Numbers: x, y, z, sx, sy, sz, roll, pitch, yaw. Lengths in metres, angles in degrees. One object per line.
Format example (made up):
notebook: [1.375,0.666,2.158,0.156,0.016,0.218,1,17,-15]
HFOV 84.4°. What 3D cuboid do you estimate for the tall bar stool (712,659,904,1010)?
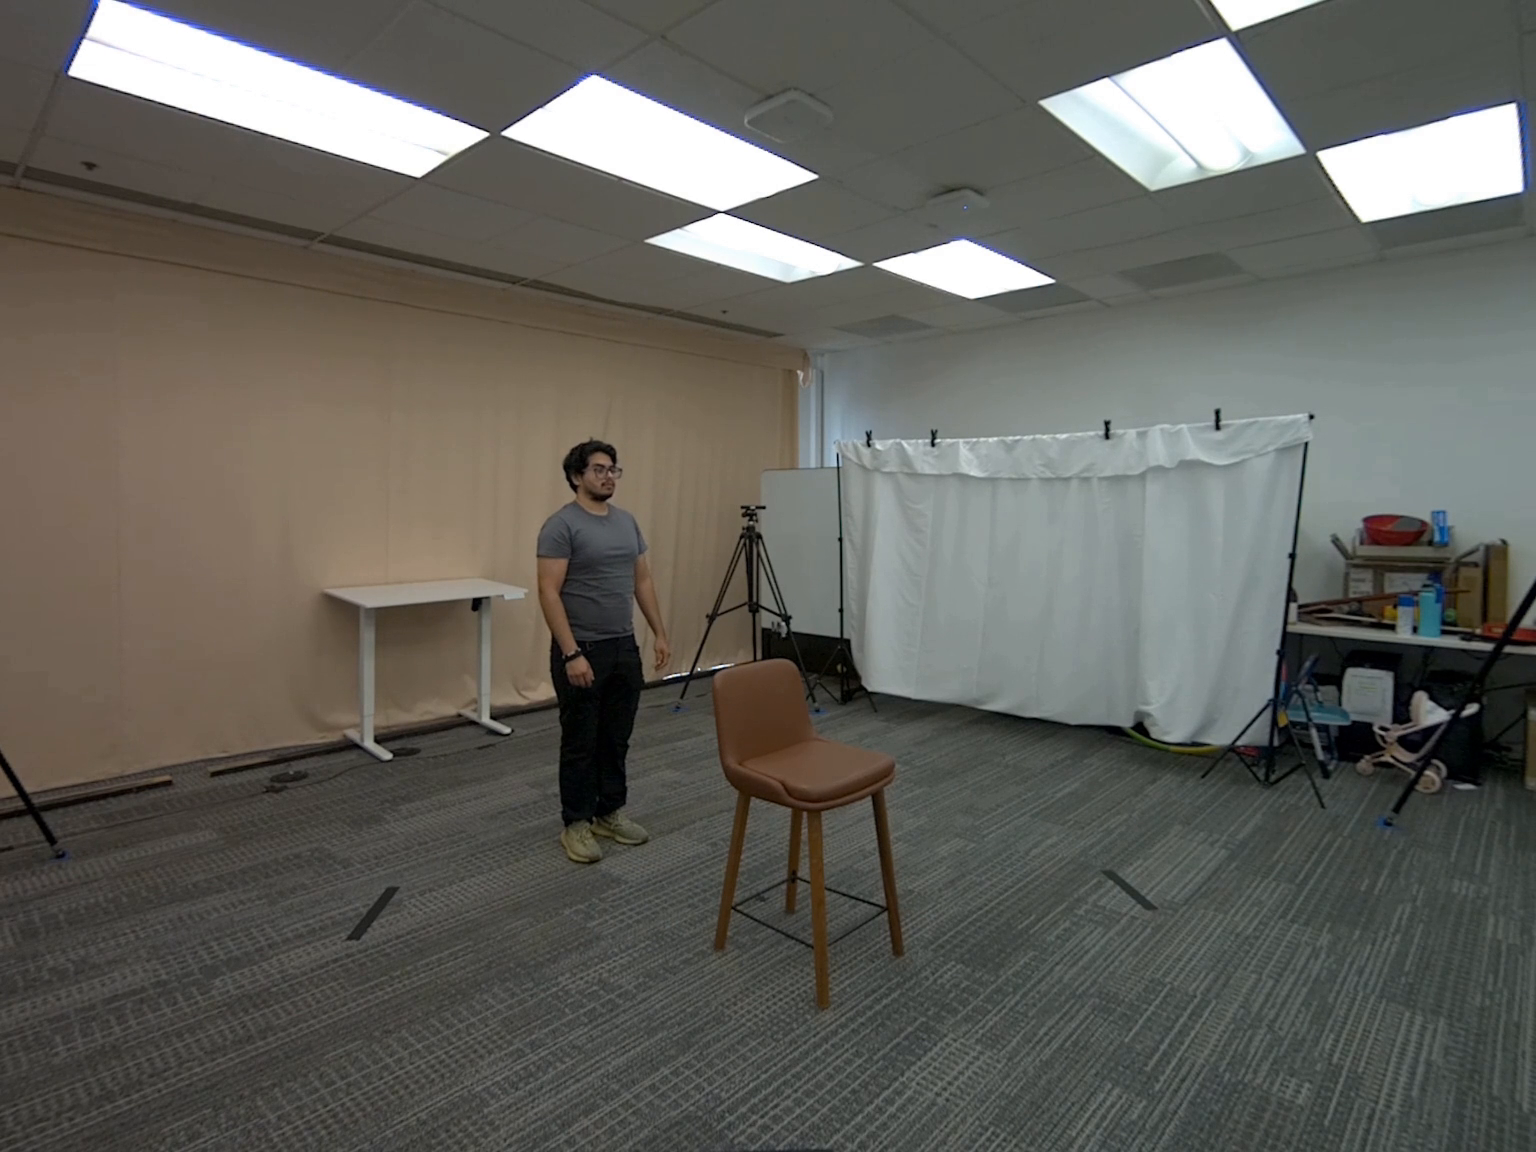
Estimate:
tall bar stool: [0.120,0.740,2.604,0.483,0.888,0.442,1,3,43]
